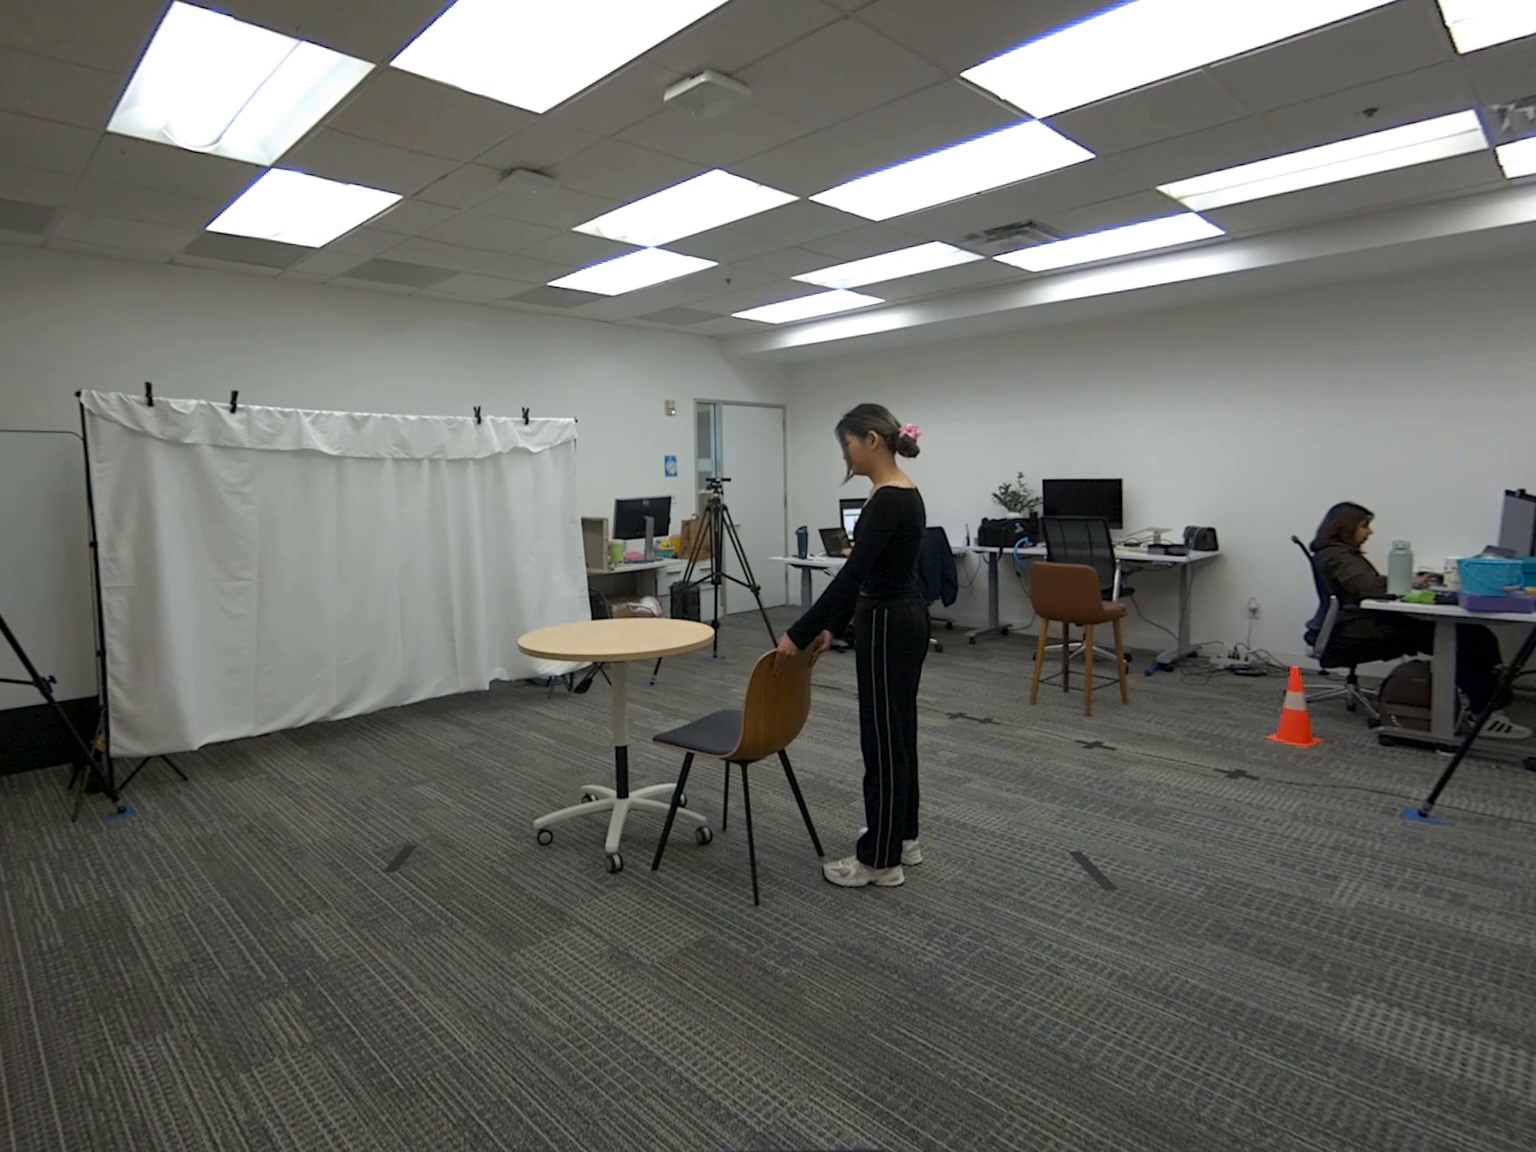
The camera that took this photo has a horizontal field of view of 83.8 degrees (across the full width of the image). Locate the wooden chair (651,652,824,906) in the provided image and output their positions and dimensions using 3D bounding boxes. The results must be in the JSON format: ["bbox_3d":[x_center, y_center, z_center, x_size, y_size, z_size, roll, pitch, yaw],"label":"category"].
[{"bbox_3d":[-0.112,0.616,3.067,0.539,0.872,0.466,8,8,34],"label":"wooden chair"}]
